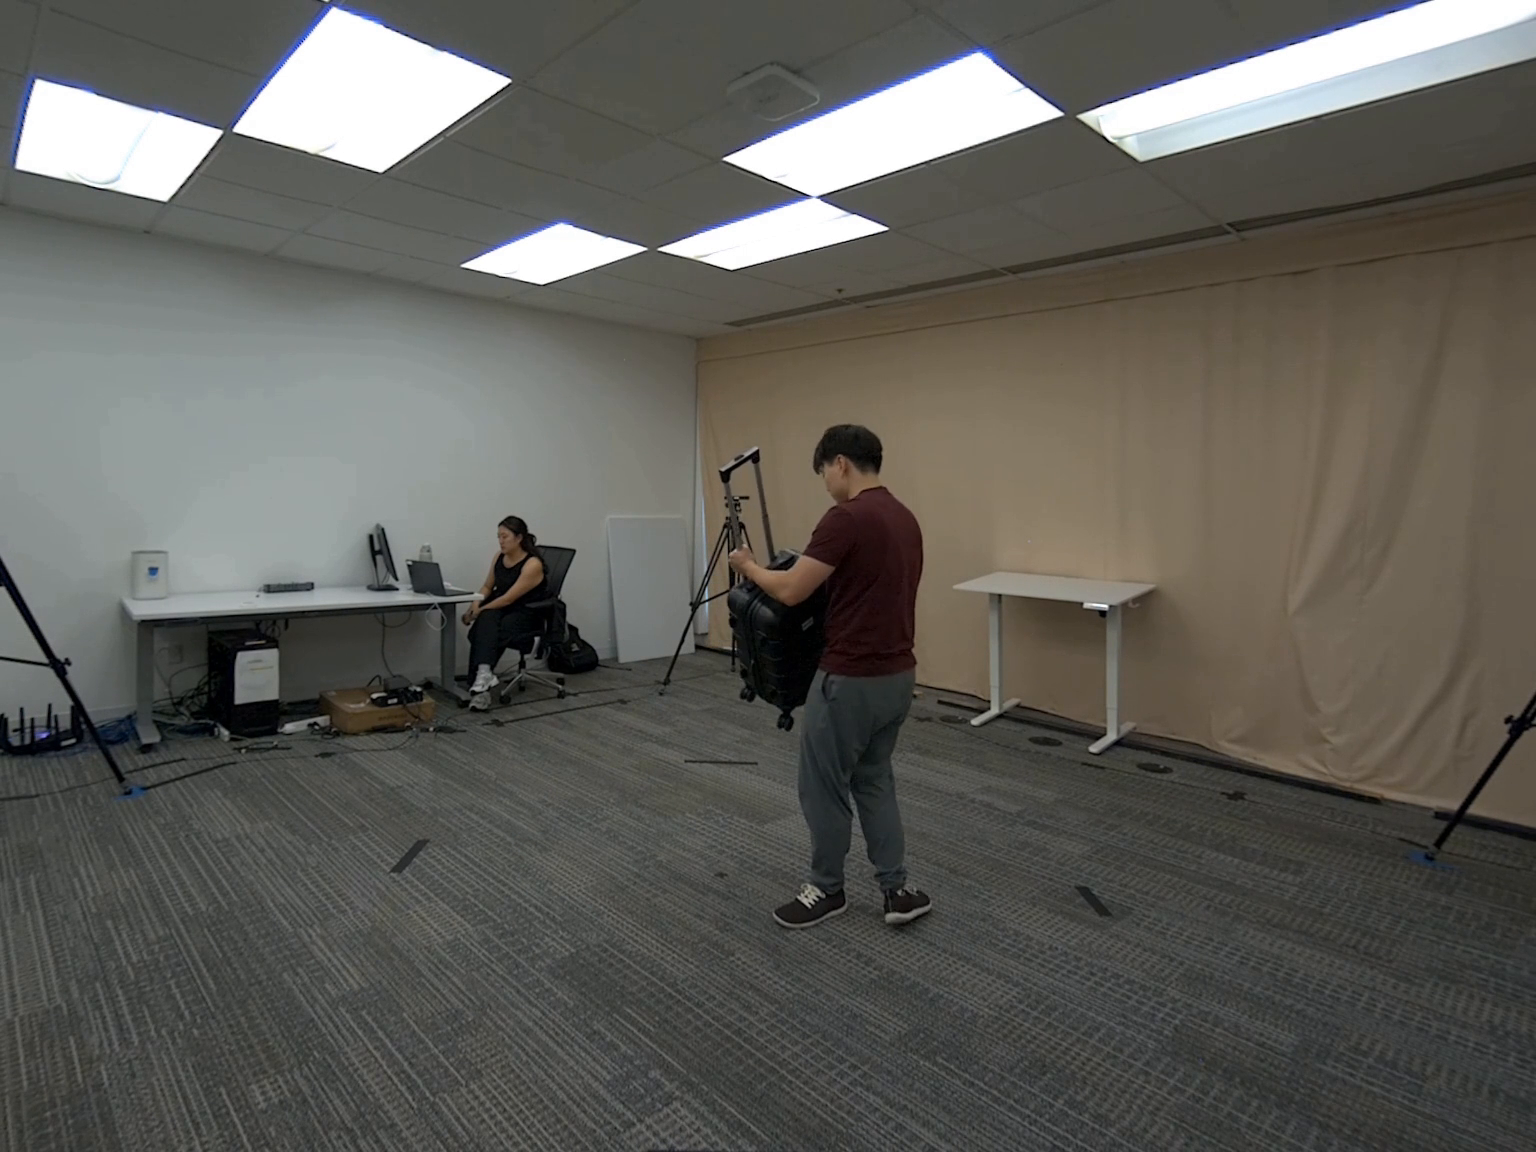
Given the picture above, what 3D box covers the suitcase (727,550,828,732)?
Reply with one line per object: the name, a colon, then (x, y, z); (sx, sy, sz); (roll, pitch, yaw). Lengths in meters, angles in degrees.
suitcase: (0.051, 0.051, 2.871); (0.381, 0.954, 0.265); (-33, 45, -28)
